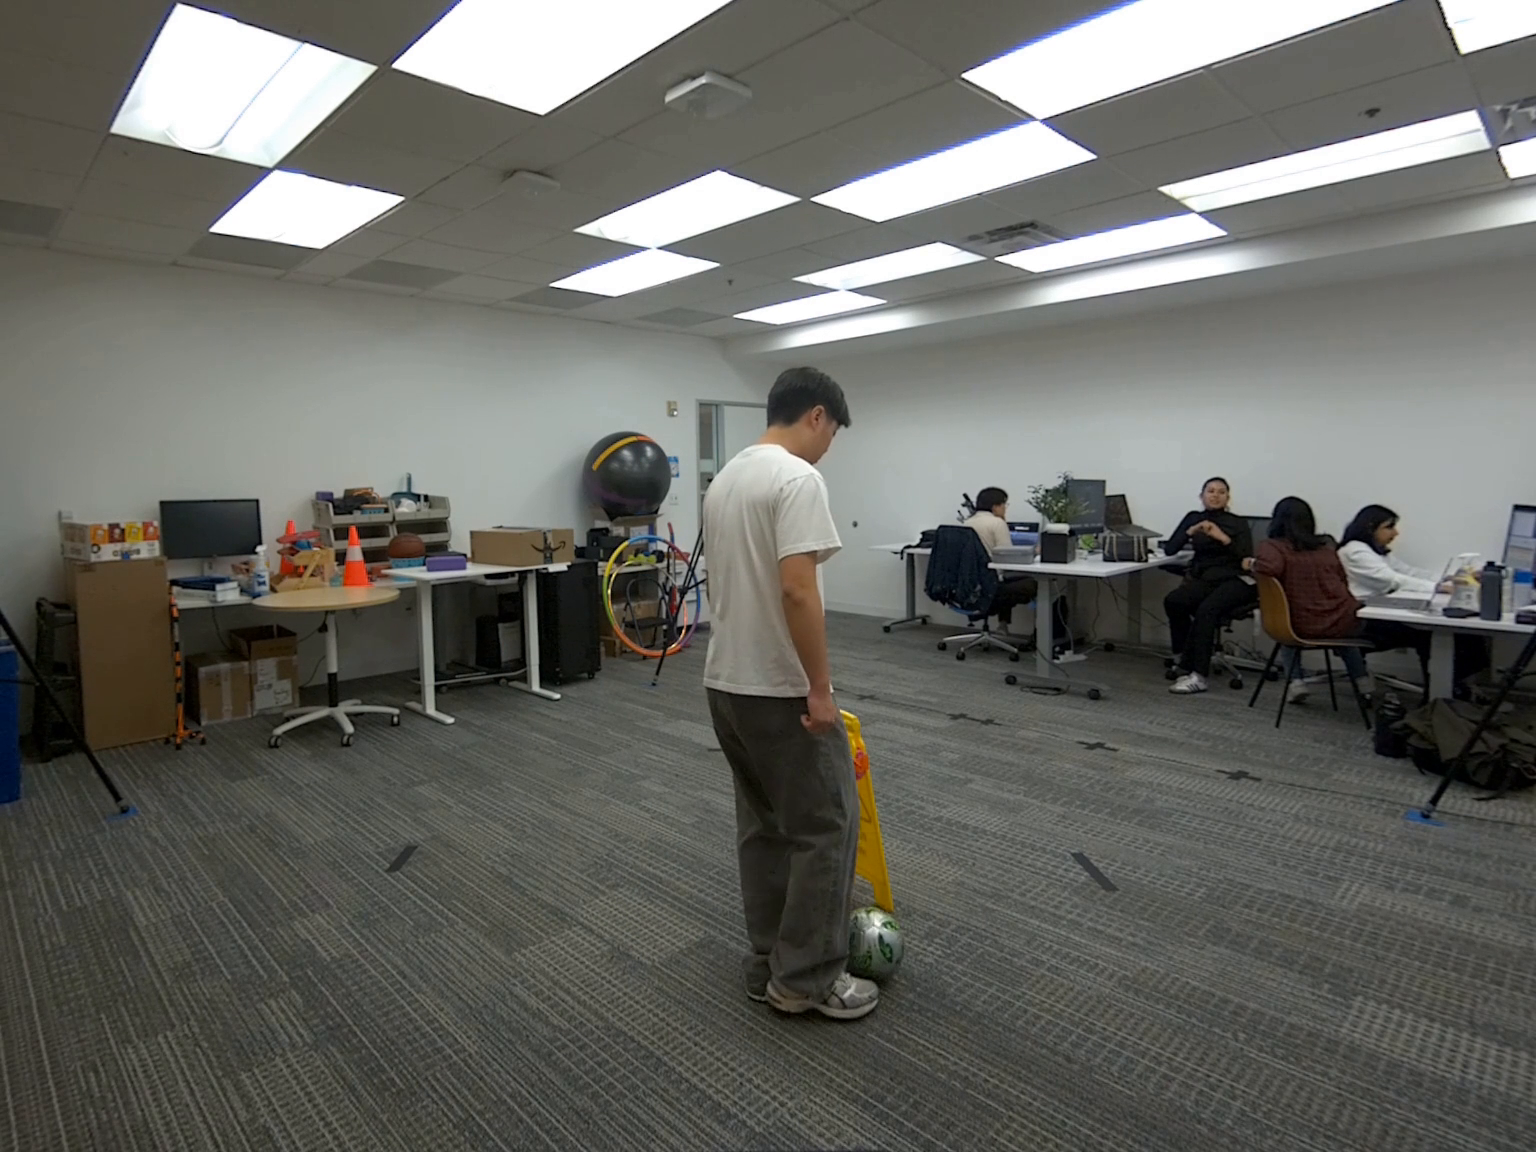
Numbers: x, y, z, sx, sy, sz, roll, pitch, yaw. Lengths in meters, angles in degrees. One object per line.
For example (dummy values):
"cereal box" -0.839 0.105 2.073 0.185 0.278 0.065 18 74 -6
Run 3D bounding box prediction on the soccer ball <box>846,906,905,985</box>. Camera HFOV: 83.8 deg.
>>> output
"soccer ball" 0.284 1.027 2.401 0.187 0.187 0.188 -1 5 -2
